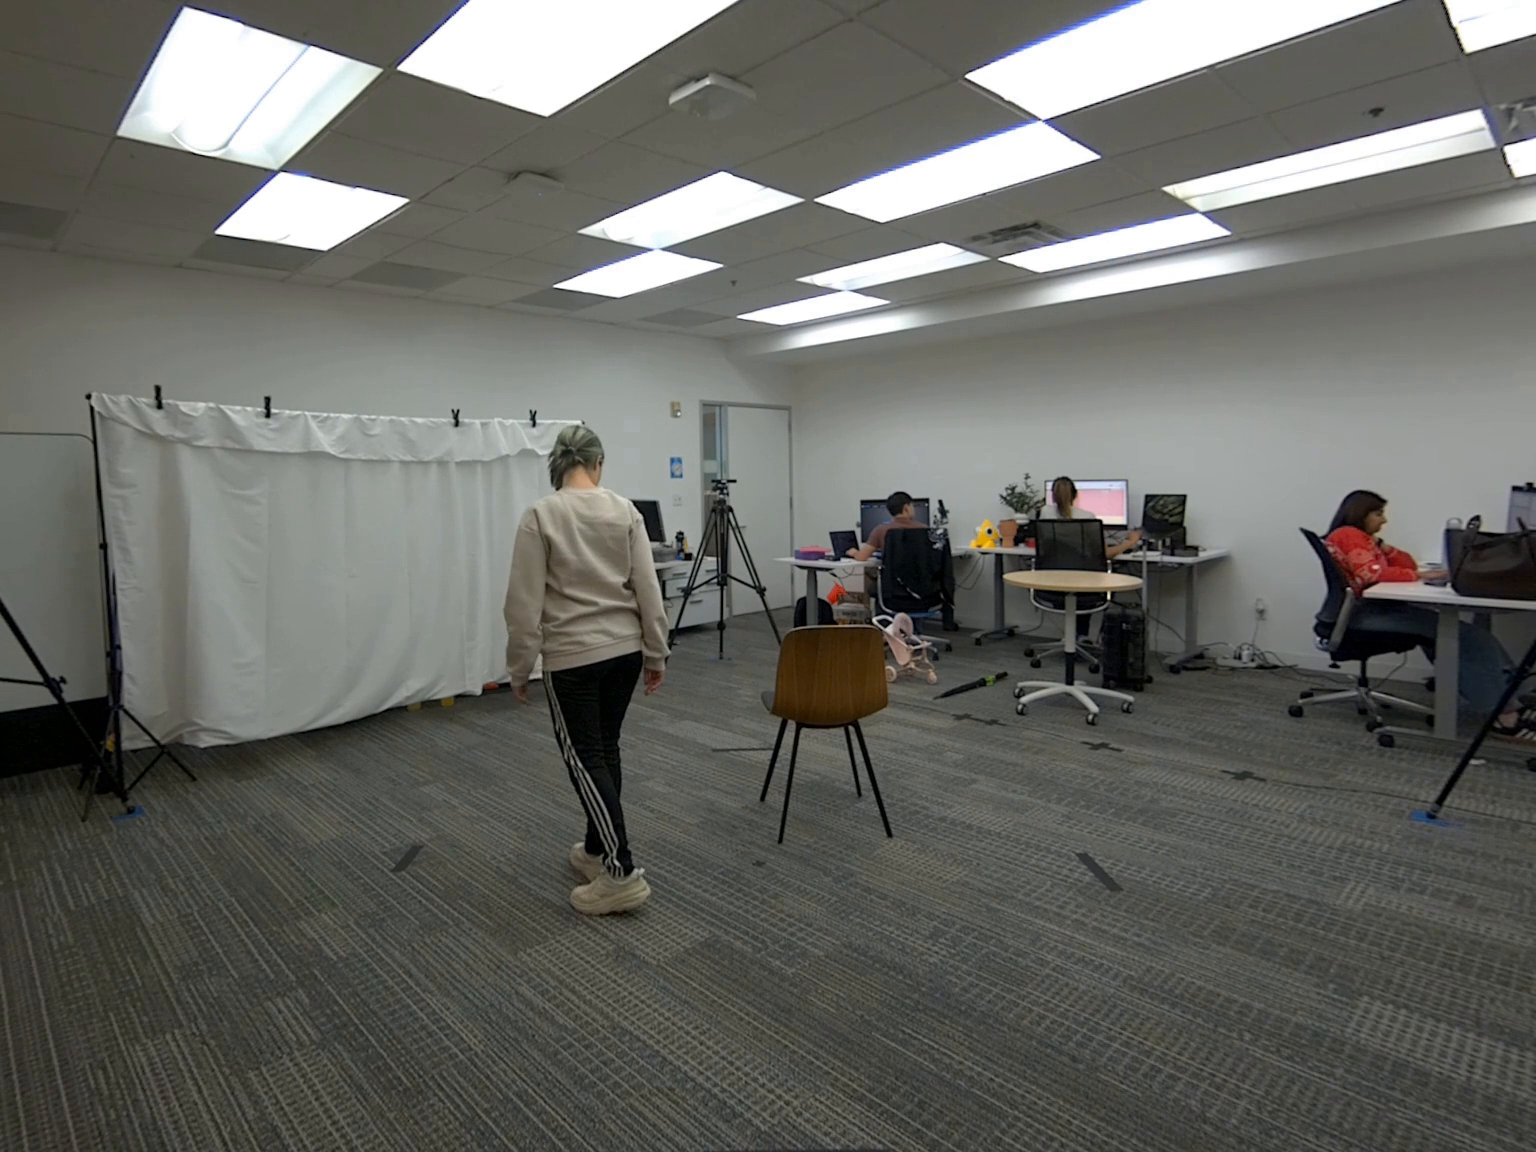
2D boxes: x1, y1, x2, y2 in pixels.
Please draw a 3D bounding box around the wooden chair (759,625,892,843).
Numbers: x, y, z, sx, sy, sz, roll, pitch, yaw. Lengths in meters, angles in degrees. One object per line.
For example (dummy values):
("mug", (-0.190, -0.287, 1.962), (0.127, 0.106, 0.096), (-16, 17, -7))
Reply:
("wooden chair", (0.212, 0.572, 3.494), (0.474, 0.871, 0.531), (-2, 8, -9))
